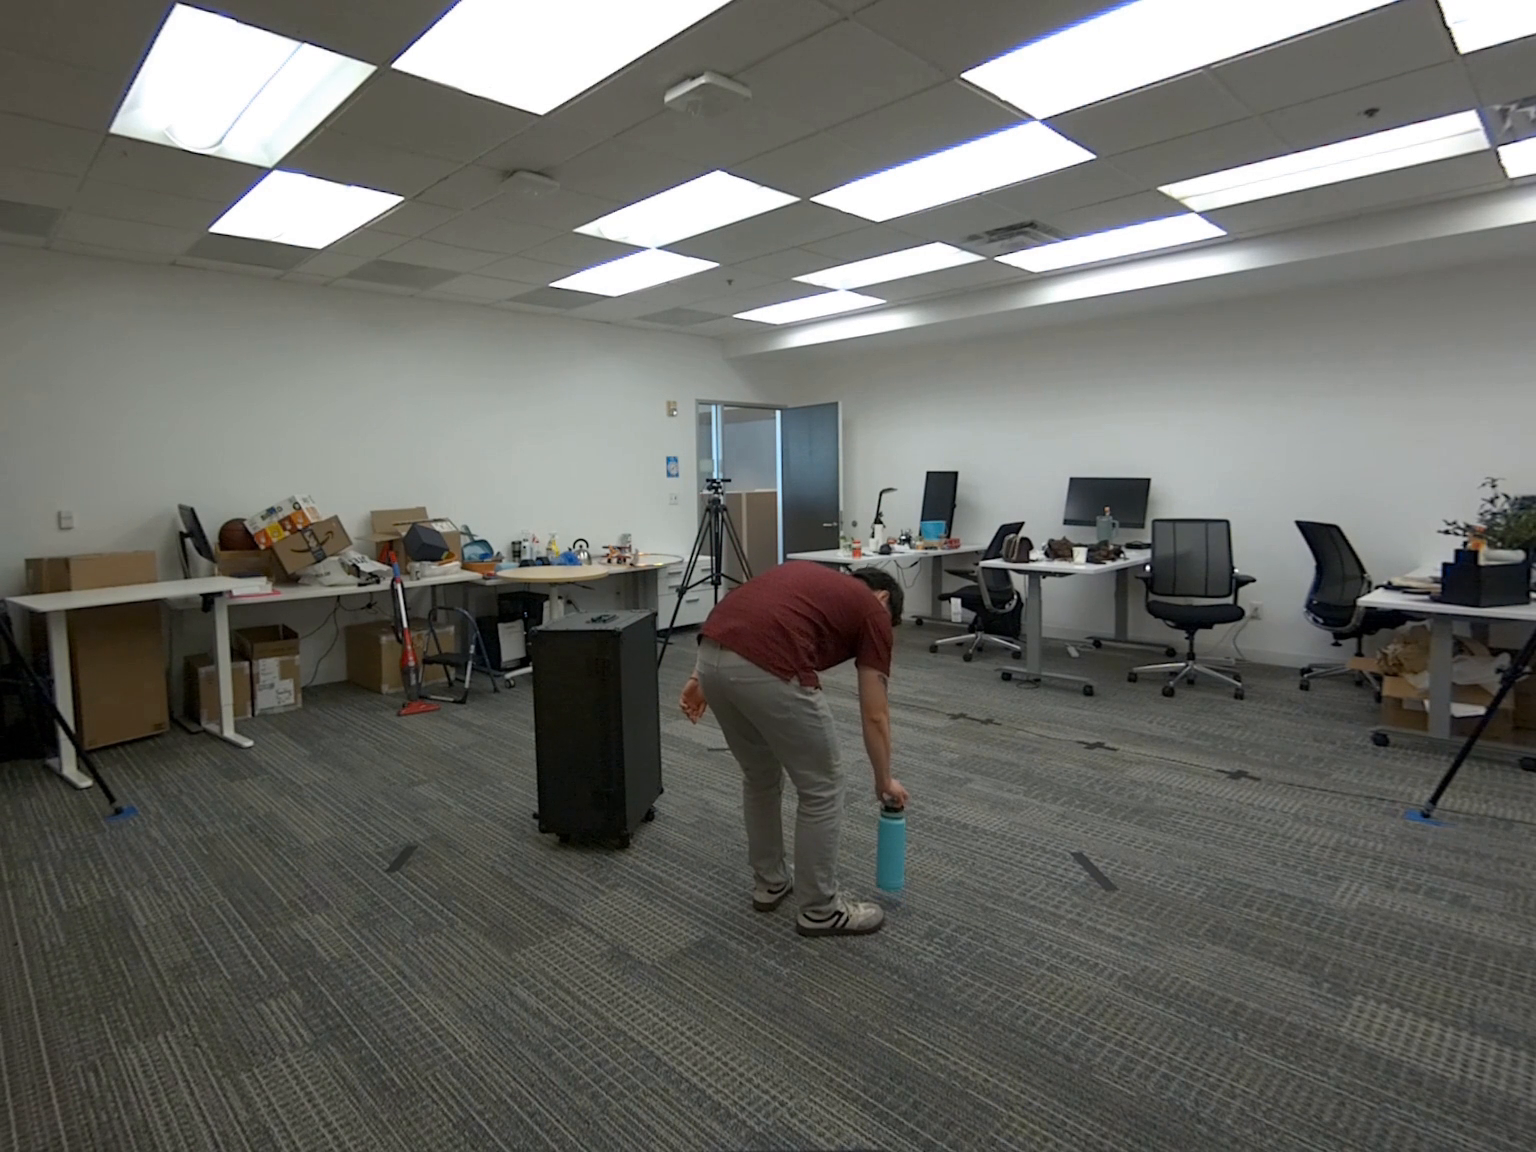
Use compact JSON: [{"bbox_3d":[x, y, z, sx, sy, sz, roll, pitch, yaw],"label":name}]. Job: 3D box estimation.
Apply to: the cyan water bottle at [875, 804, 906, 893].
[{"bbox_3d":[0.395,0.871,2.799,0.092,0.284,0.092,2,-2,-2],"label":"cyan water bottle"}]
